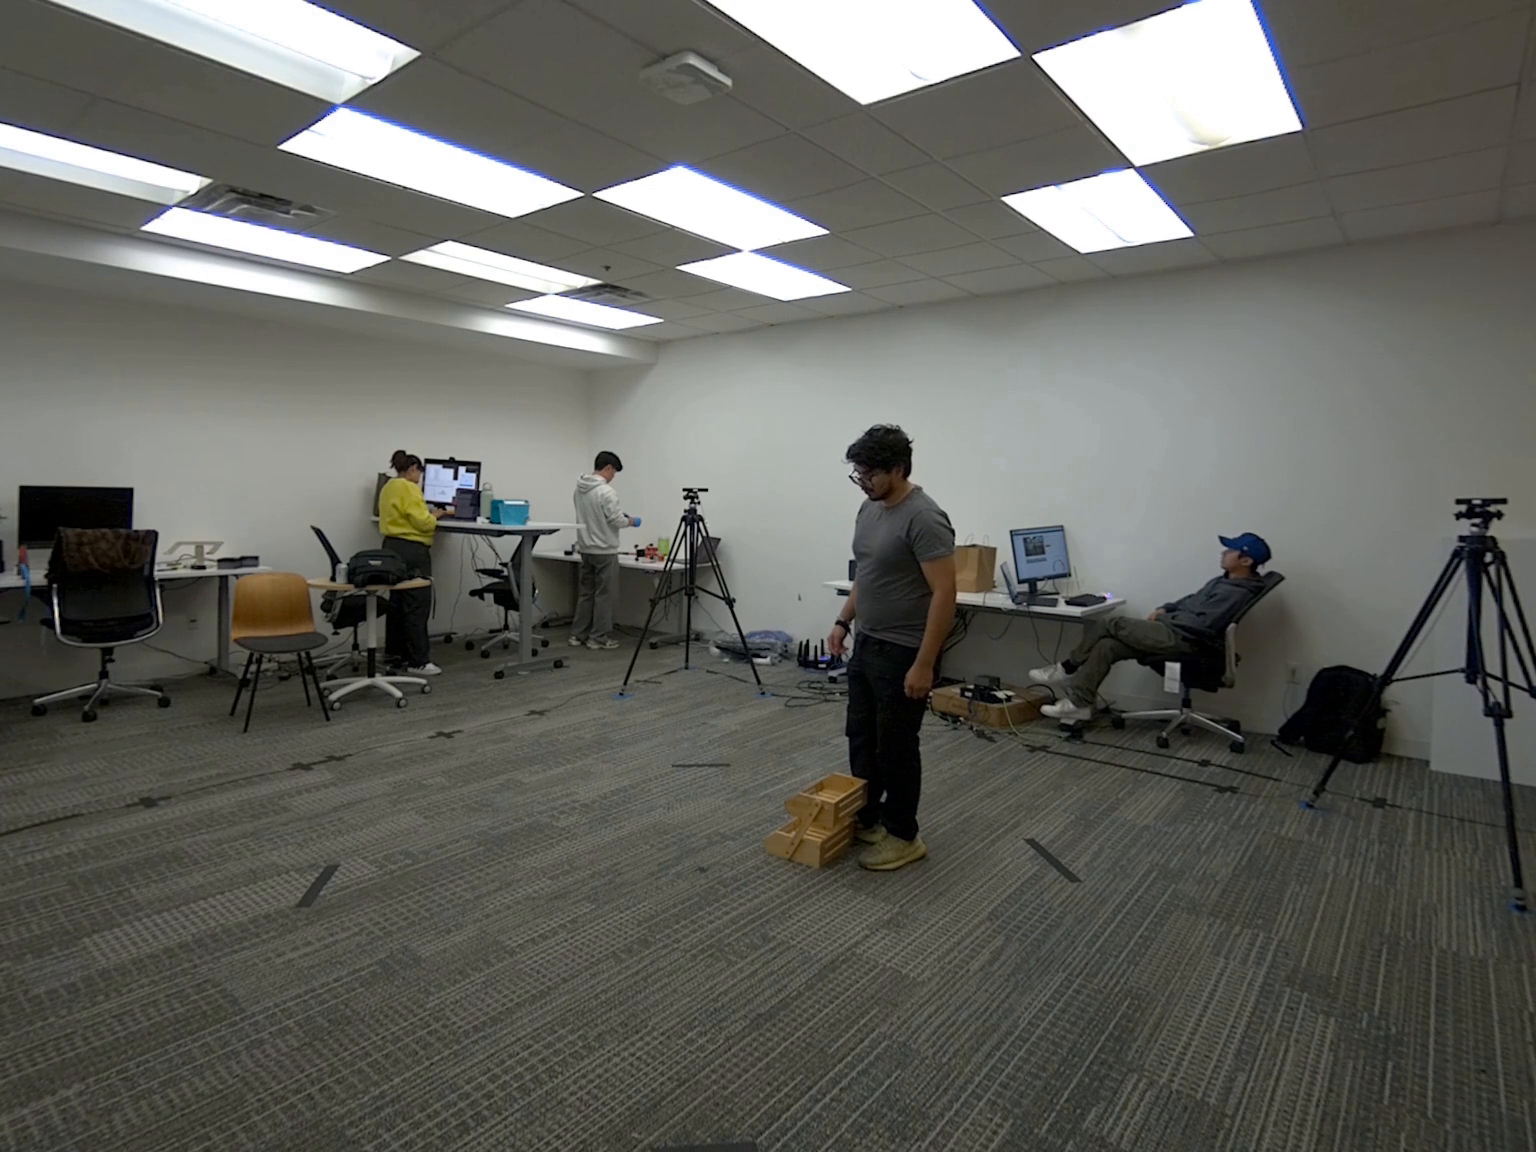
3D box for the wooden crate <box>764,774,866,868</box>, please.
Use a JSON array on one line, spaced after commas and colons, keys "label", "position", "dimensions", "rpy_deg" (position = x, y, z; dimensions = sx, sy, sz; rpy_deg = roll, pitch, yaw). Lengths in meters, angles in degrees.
[{"label": "wooden crate", "position": [0.174, 0.925, 3.312], "dimensions": [0.311, 0.272, 0.316], "rpy_deg": [5, 6, 32]}]
